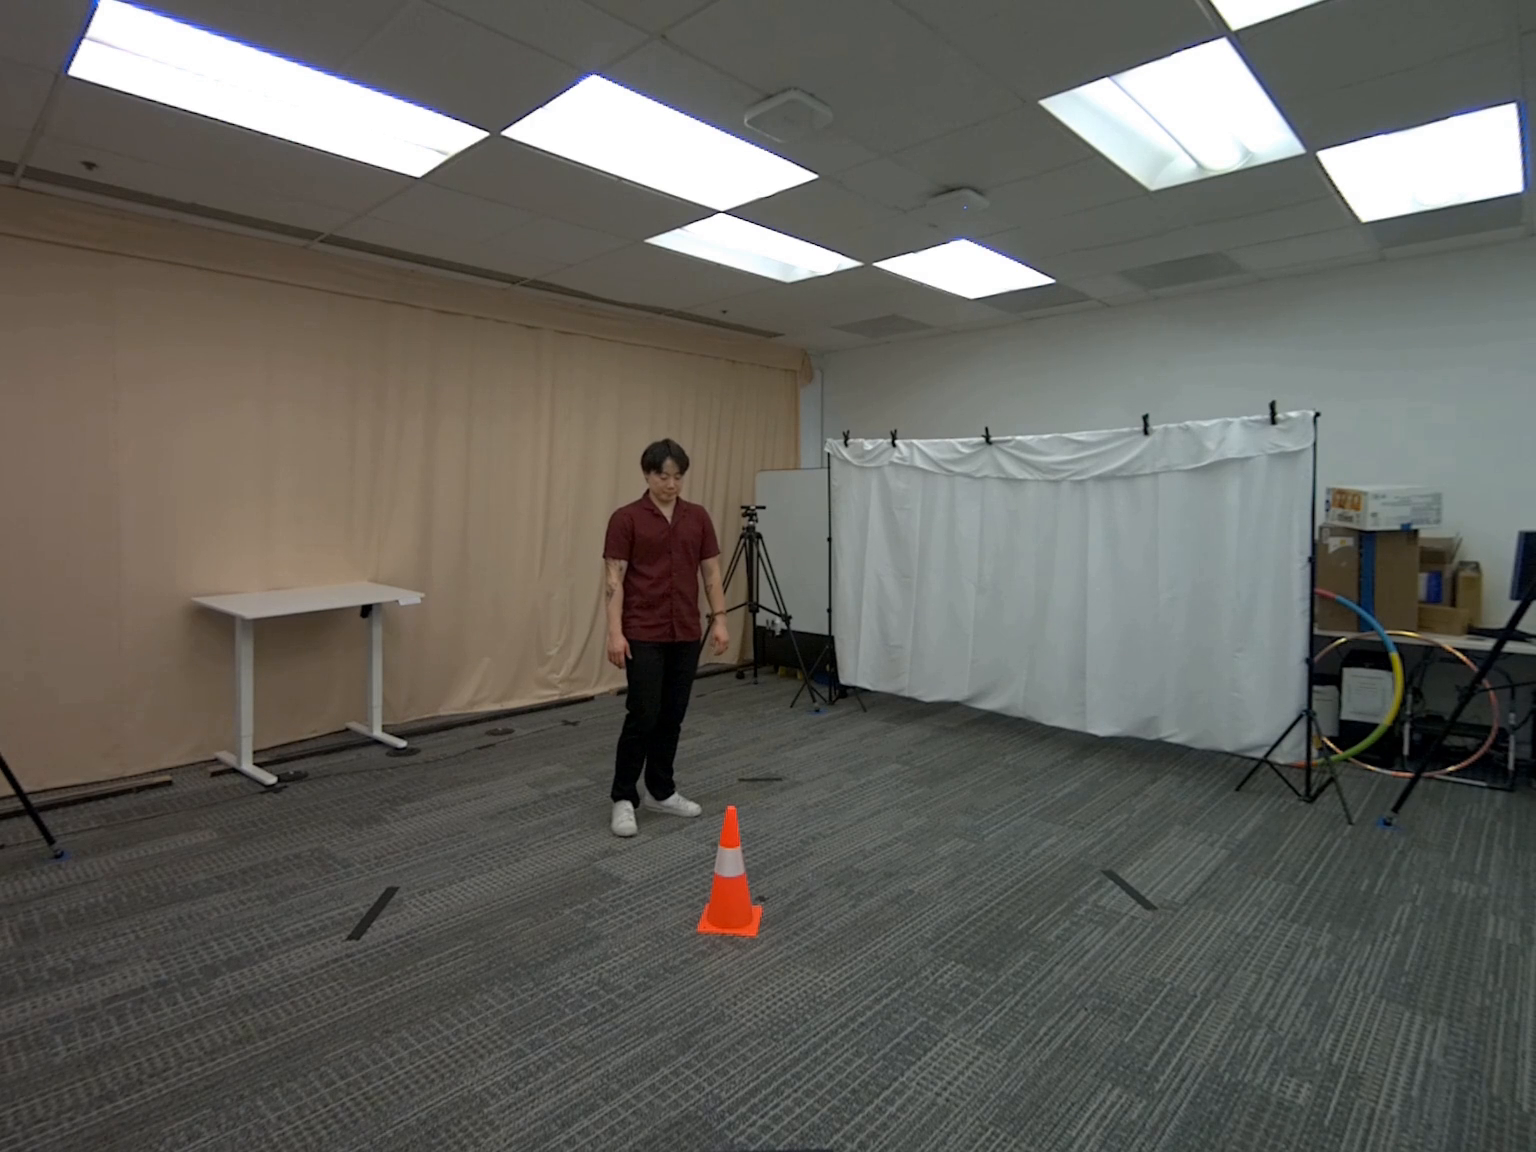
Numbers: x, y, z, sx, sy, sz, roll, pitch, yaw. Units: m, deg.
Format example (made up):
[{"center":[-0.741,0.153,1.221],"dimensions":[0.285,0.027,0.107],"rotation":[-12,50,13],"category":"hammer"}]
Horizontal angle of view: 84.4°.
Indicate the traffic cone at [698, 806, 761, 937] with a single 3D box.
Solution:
[{"center":[-0.128,0.970,2.819],"dimensions":[0.206,0.383,0.203],"rotation":[0,4,10],"category":"traffic cone"}]
